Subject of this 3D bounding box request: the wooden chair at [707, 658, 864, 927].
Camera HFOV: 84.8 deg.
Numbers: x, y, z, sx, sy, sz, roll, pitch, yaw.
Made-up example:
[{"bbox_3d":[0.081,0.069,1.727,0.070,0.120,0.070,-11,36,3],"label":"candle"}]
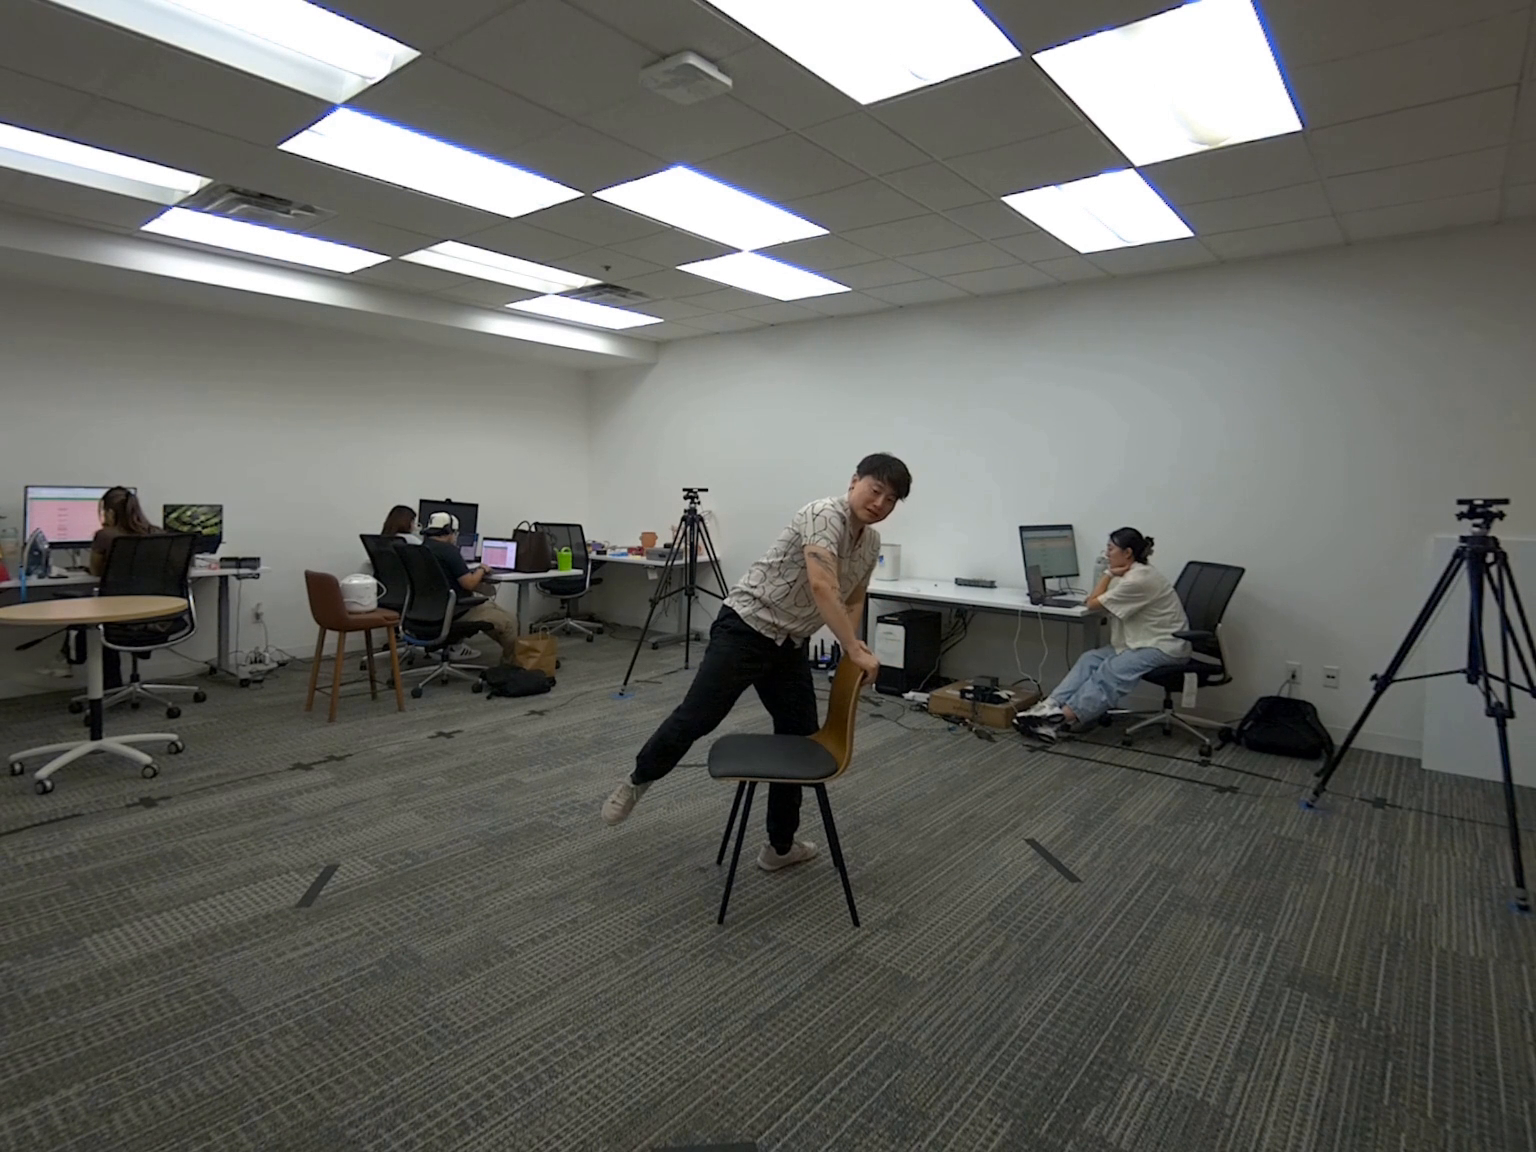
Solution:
[{"bbox_3d":[0.046,0.664,2.908,0.522,0.875,0.481,5,3,-3],"label":"wooden chair"}]
